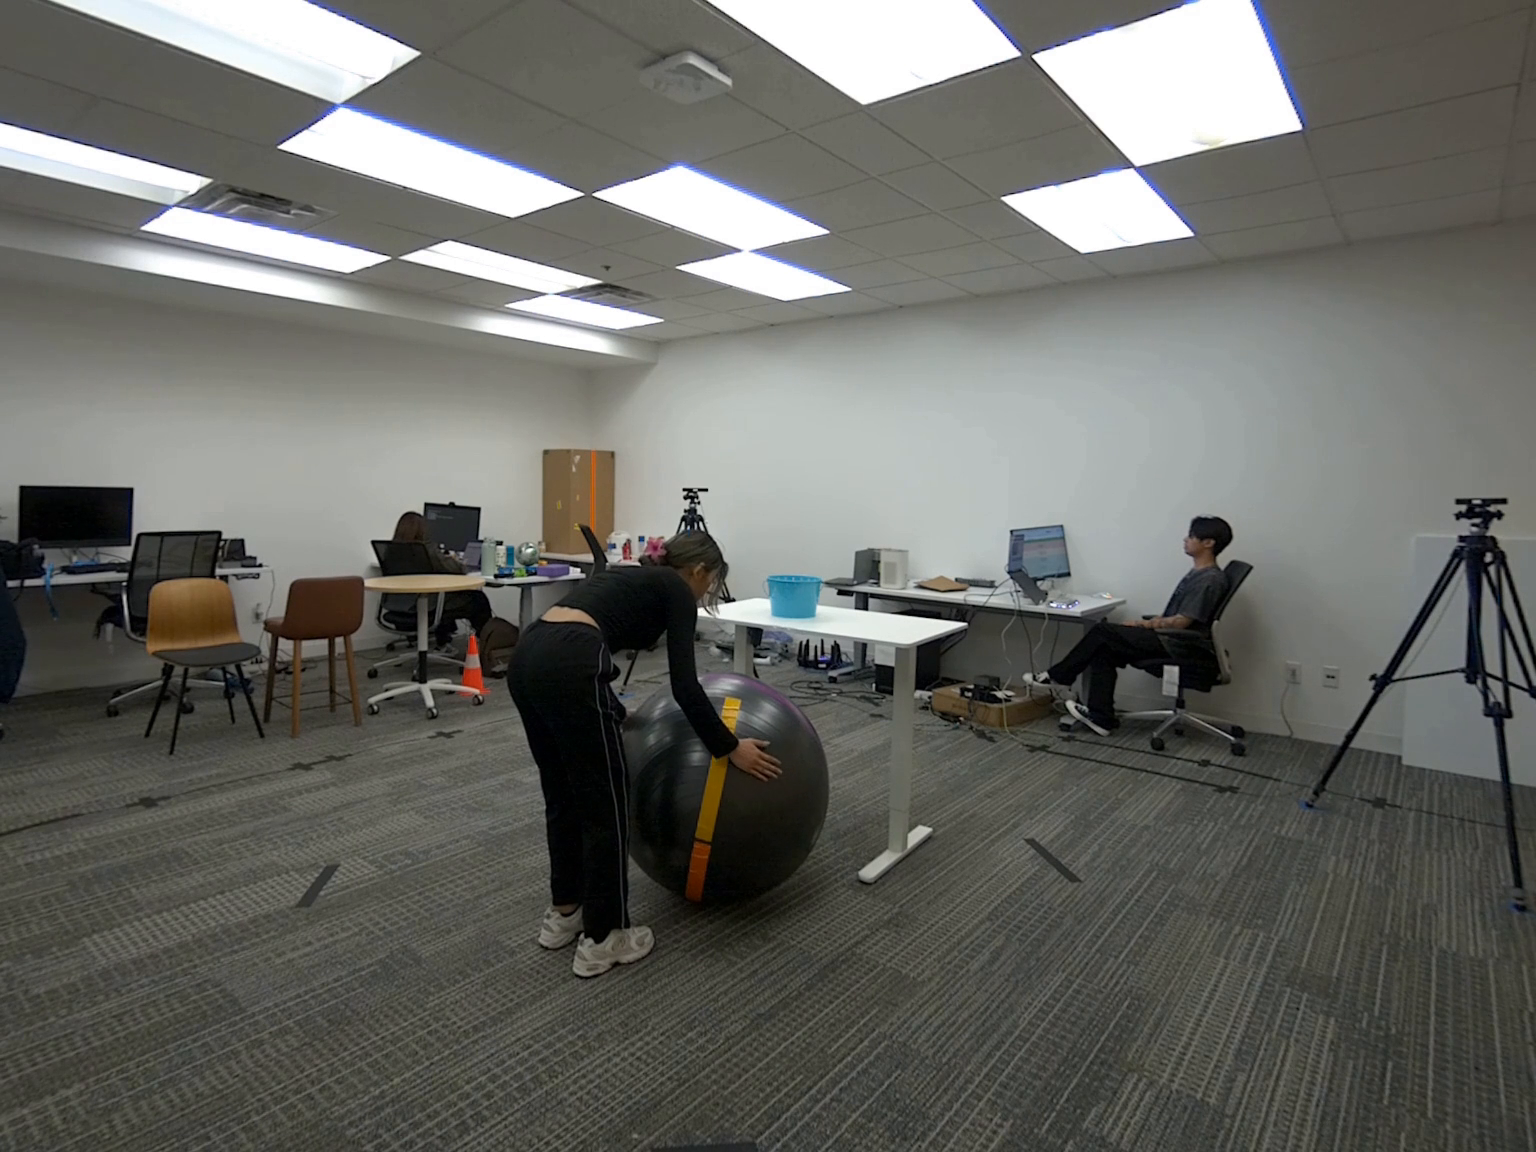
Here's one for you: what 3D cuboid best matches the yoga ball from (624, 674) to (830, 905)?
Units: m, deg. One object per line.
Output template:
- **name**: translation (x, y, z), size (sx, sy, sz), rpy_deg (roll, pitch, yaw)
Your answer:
- **yoga ball**: translation (-0.170, 0.717, 2.925), size (0.757, 0.756, 0.761), rpy_deg (1, 4, -2)
